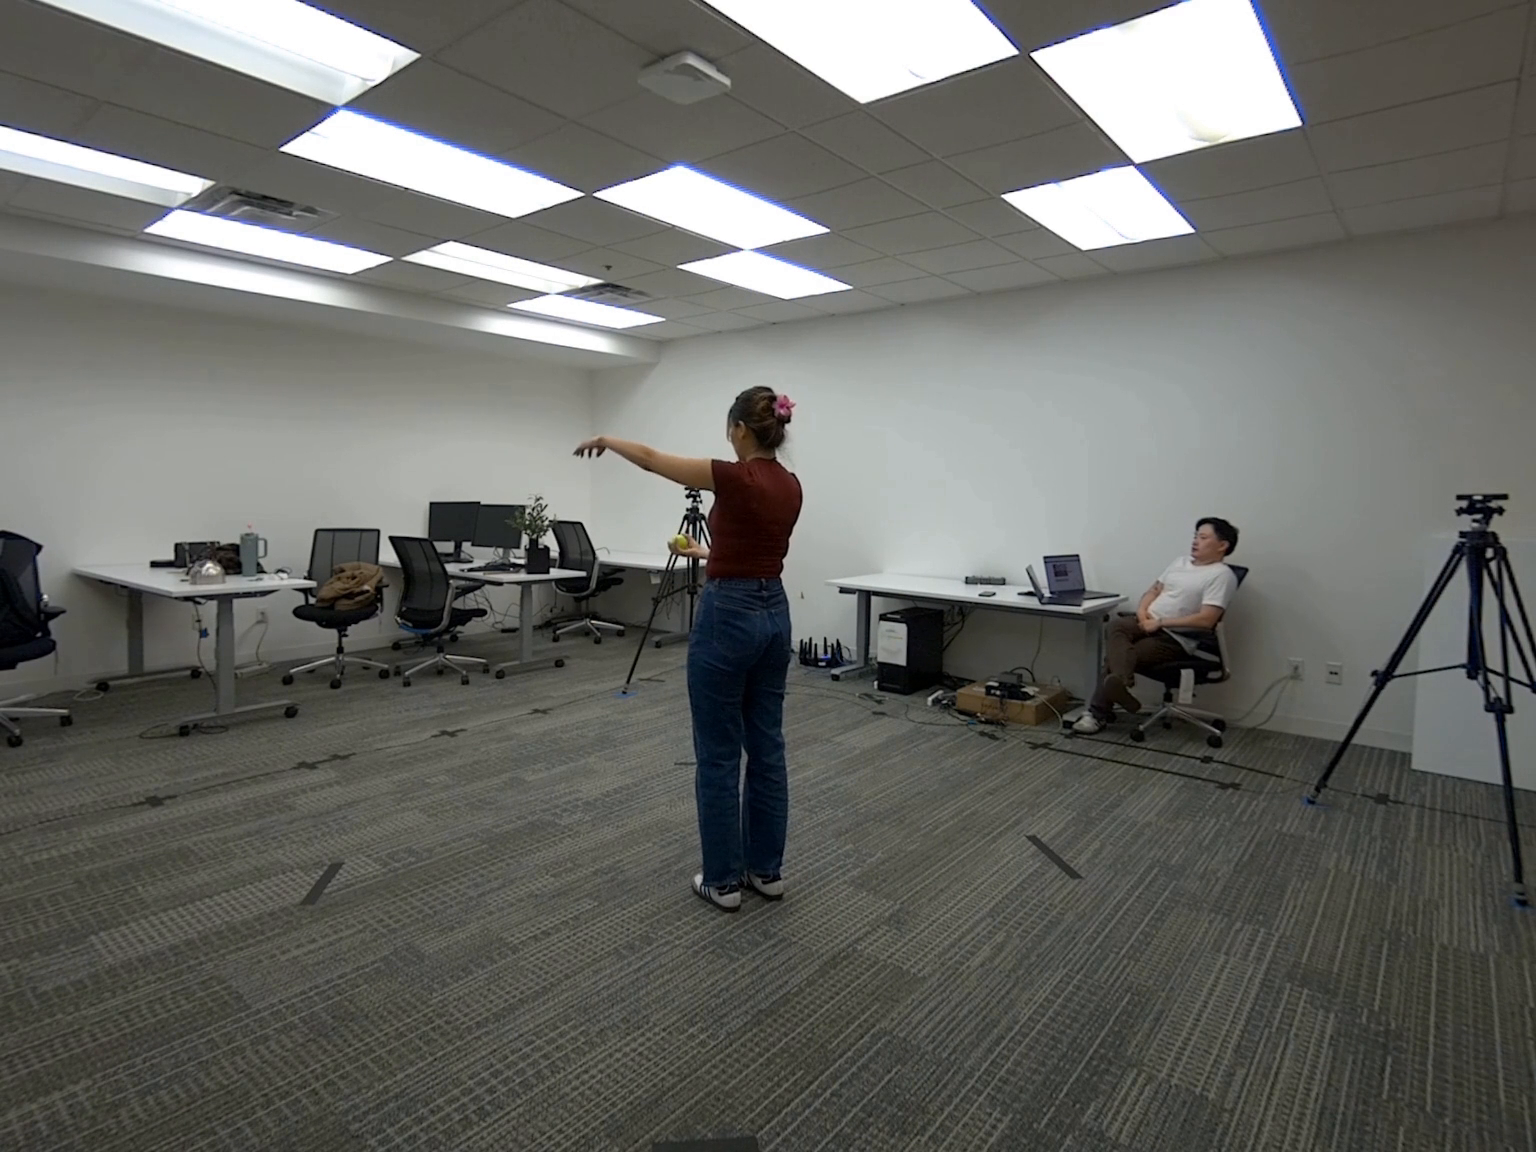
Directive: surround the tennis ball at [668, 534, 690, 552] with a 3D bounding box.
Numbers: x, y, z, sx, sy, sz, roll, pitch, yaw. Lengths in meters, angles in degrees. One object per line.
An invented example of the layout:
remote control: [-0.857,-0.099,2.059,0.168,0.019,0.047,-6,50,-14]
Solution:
tennis ball: [-0.345,-0.145,3.327,0.066,0.066,0.067,1,4,-2]
